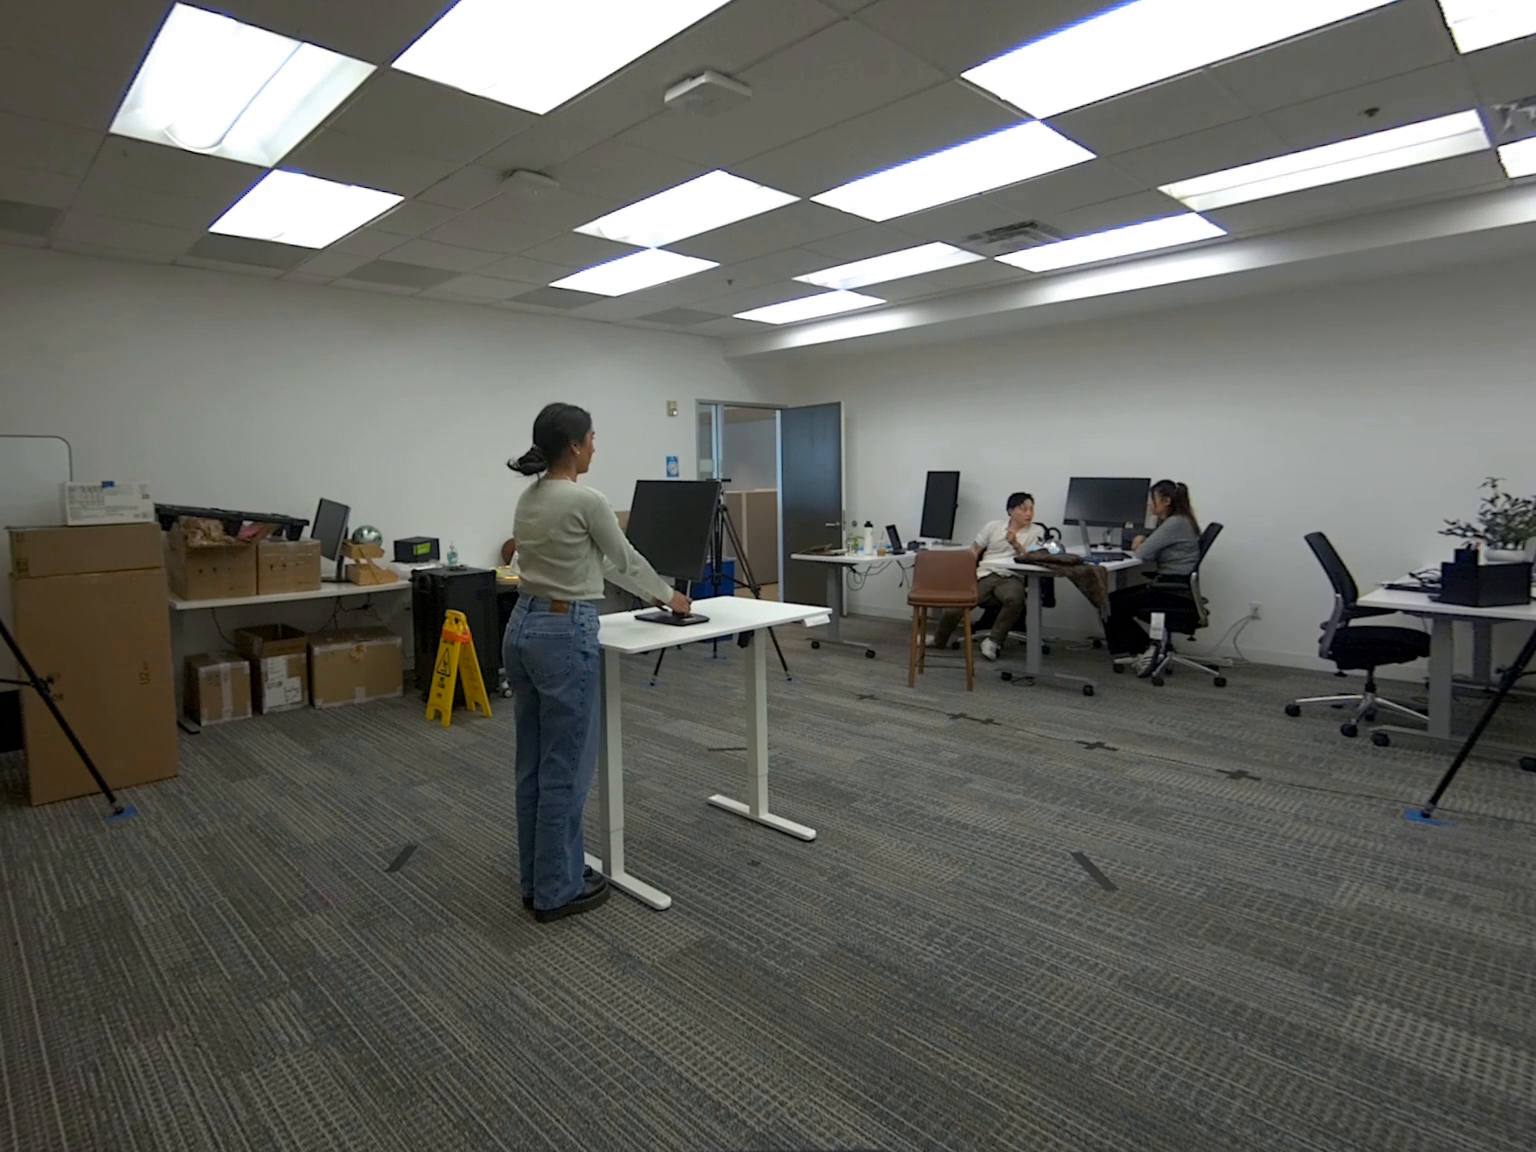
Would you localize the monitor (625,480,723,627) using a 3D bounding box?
[{"bbox_3d":[-0.337,-0.091,3.158,0.182,0.520,0.556,-4,6,-41],"label":"monitor"}]
